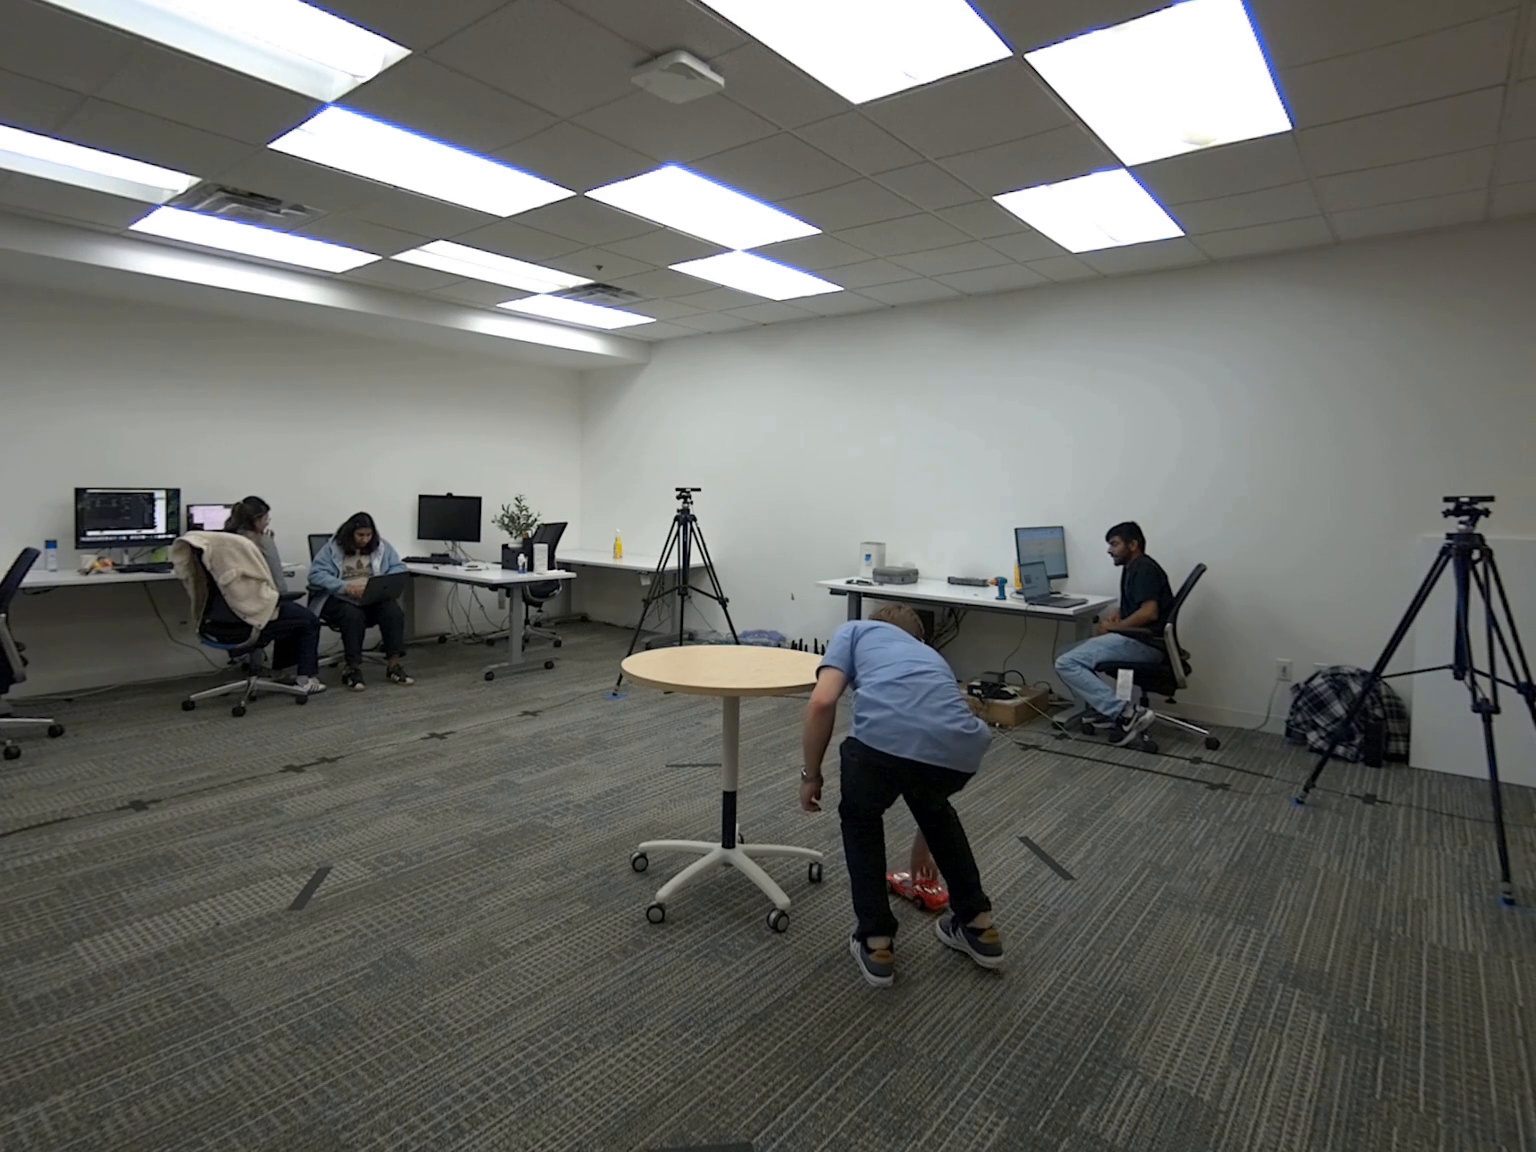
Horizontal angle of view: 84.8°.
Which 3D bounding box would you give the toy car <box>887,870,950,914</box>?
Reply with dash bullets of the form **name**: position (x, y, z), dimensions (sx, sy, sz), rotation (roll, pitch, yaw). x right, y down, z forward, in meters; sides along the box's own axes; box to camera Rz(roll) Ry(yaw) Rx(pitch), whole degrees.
- **toy car**: position (0.511, 1.075, 2.910), dimensions (0.126, 0.084, 0.260), rotation (-2, -5, -34)
